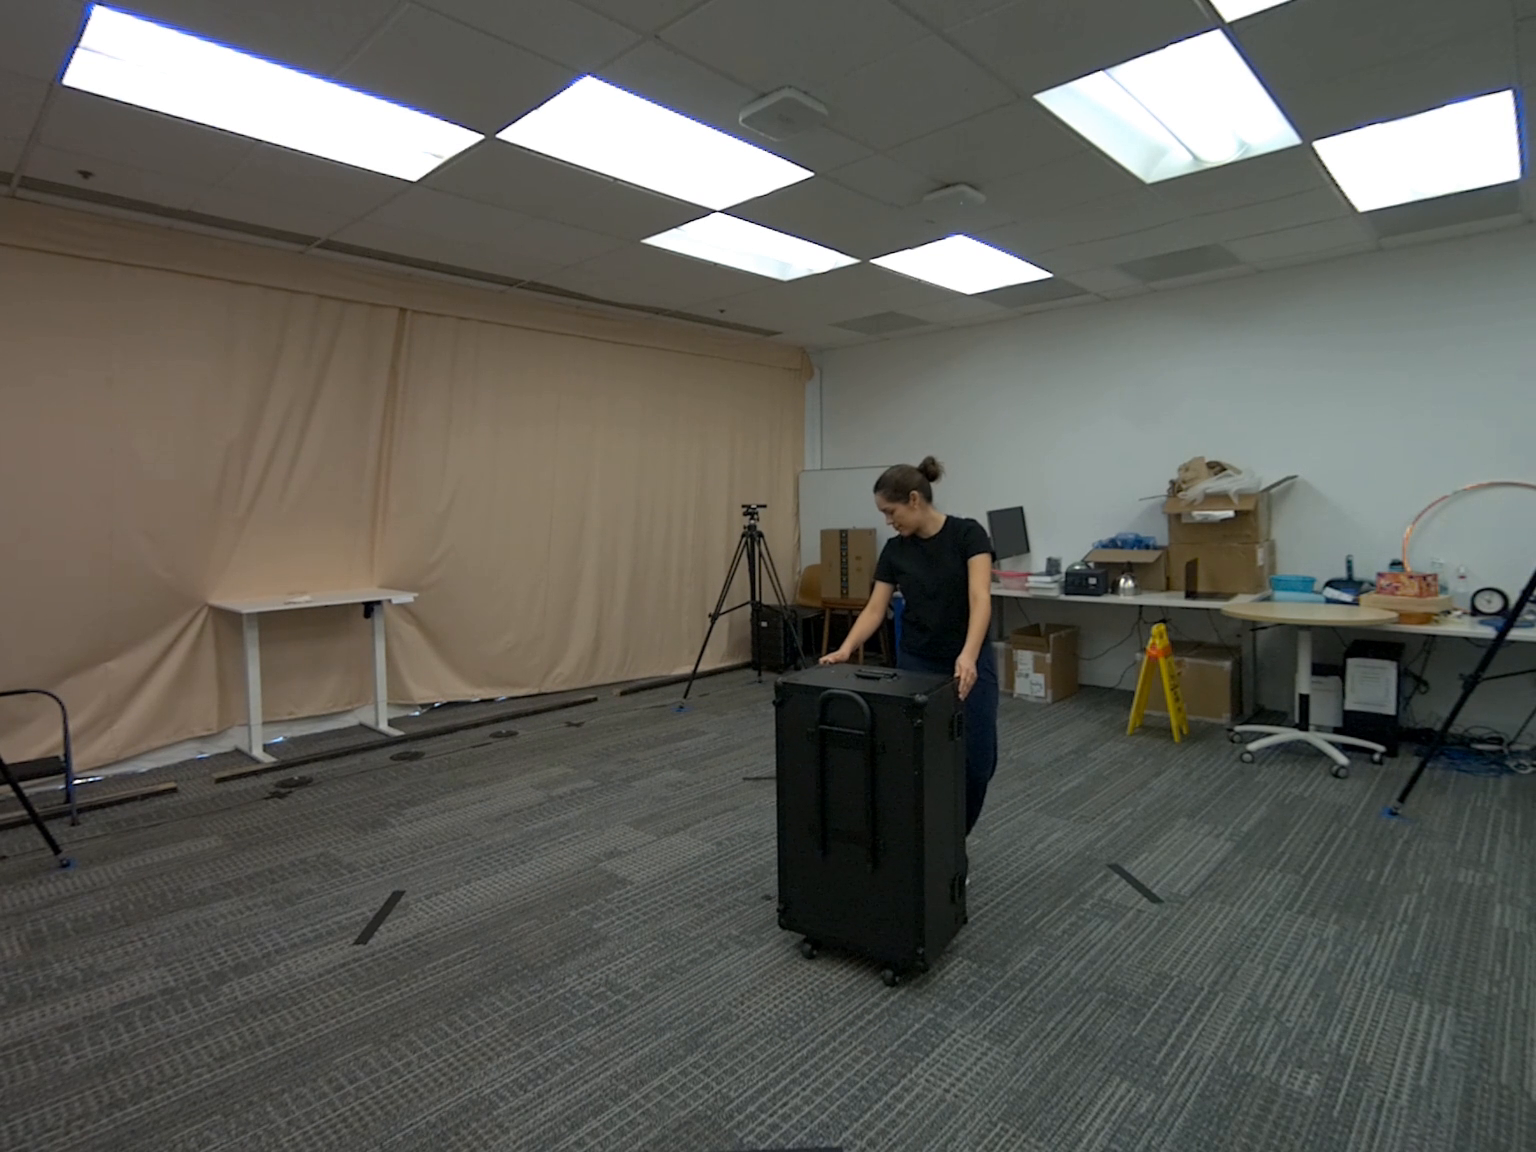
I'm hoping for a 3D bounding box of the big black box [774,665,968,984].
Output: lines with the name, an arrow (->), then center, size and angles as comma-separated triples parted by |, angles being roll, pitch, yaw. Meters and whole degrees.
big black box -> 0.337, 0.740, 2.606 | 0.537, 0.859, 0.385 | 1, 5, 34
